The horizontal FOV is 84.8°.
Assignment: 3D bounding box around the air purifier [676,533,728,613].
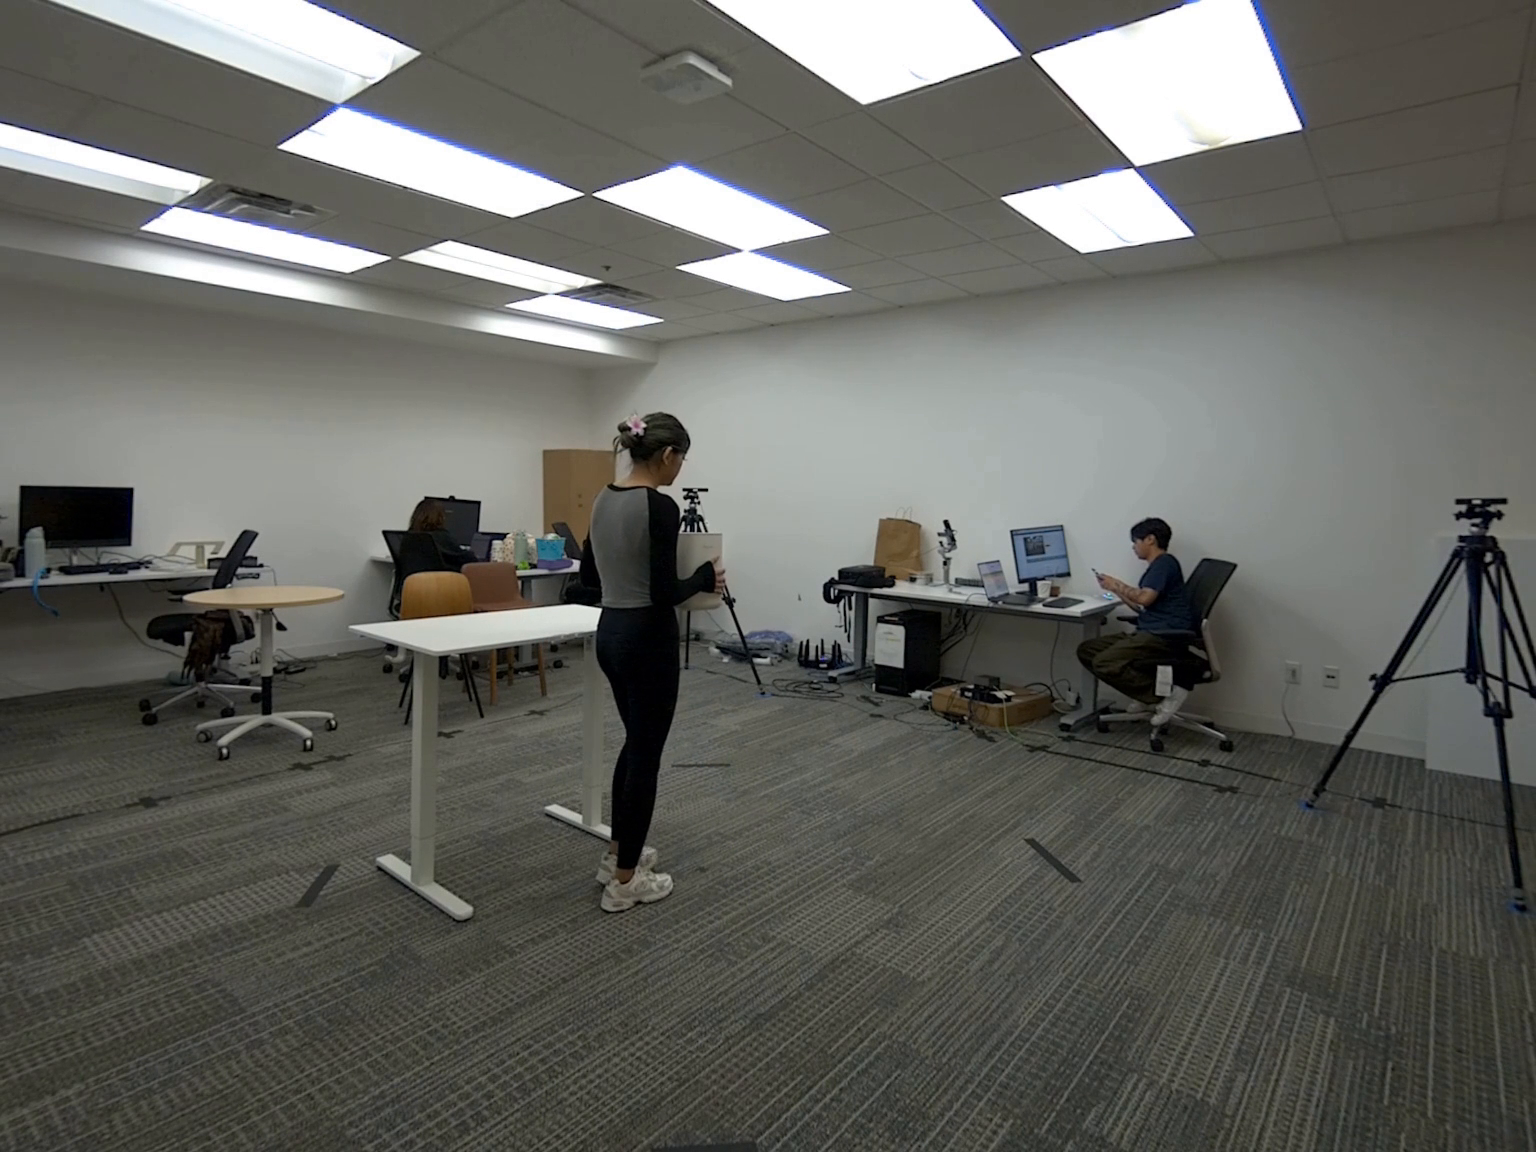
[{"bbox_3d":[-0.264,-0.017,2.961,0.176,0.265,0.167,-1,1,28],"label":"air purifier"}]
